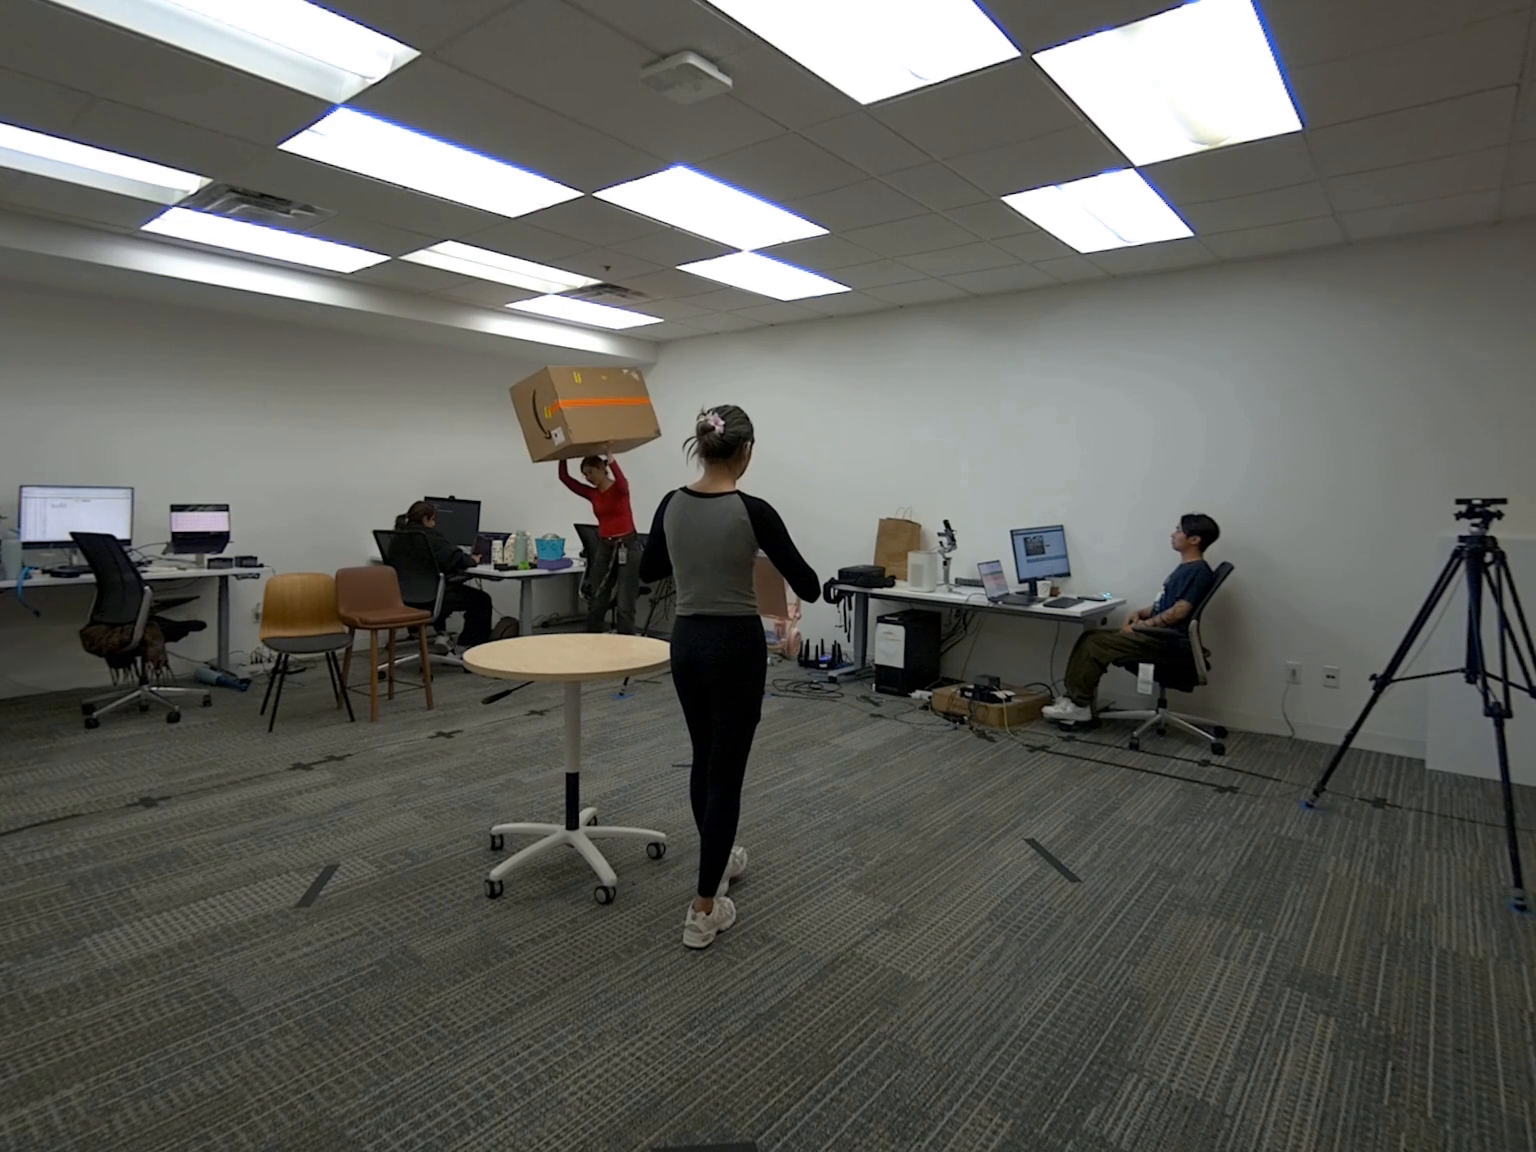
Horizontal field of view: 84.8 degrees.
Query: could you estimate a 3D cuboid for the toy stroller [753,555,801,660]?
[{"bbox_3d":[-0.008,0.044,3.069,0.289,0.525,0.339,6,22,23],"label":"toy stroller"}]
